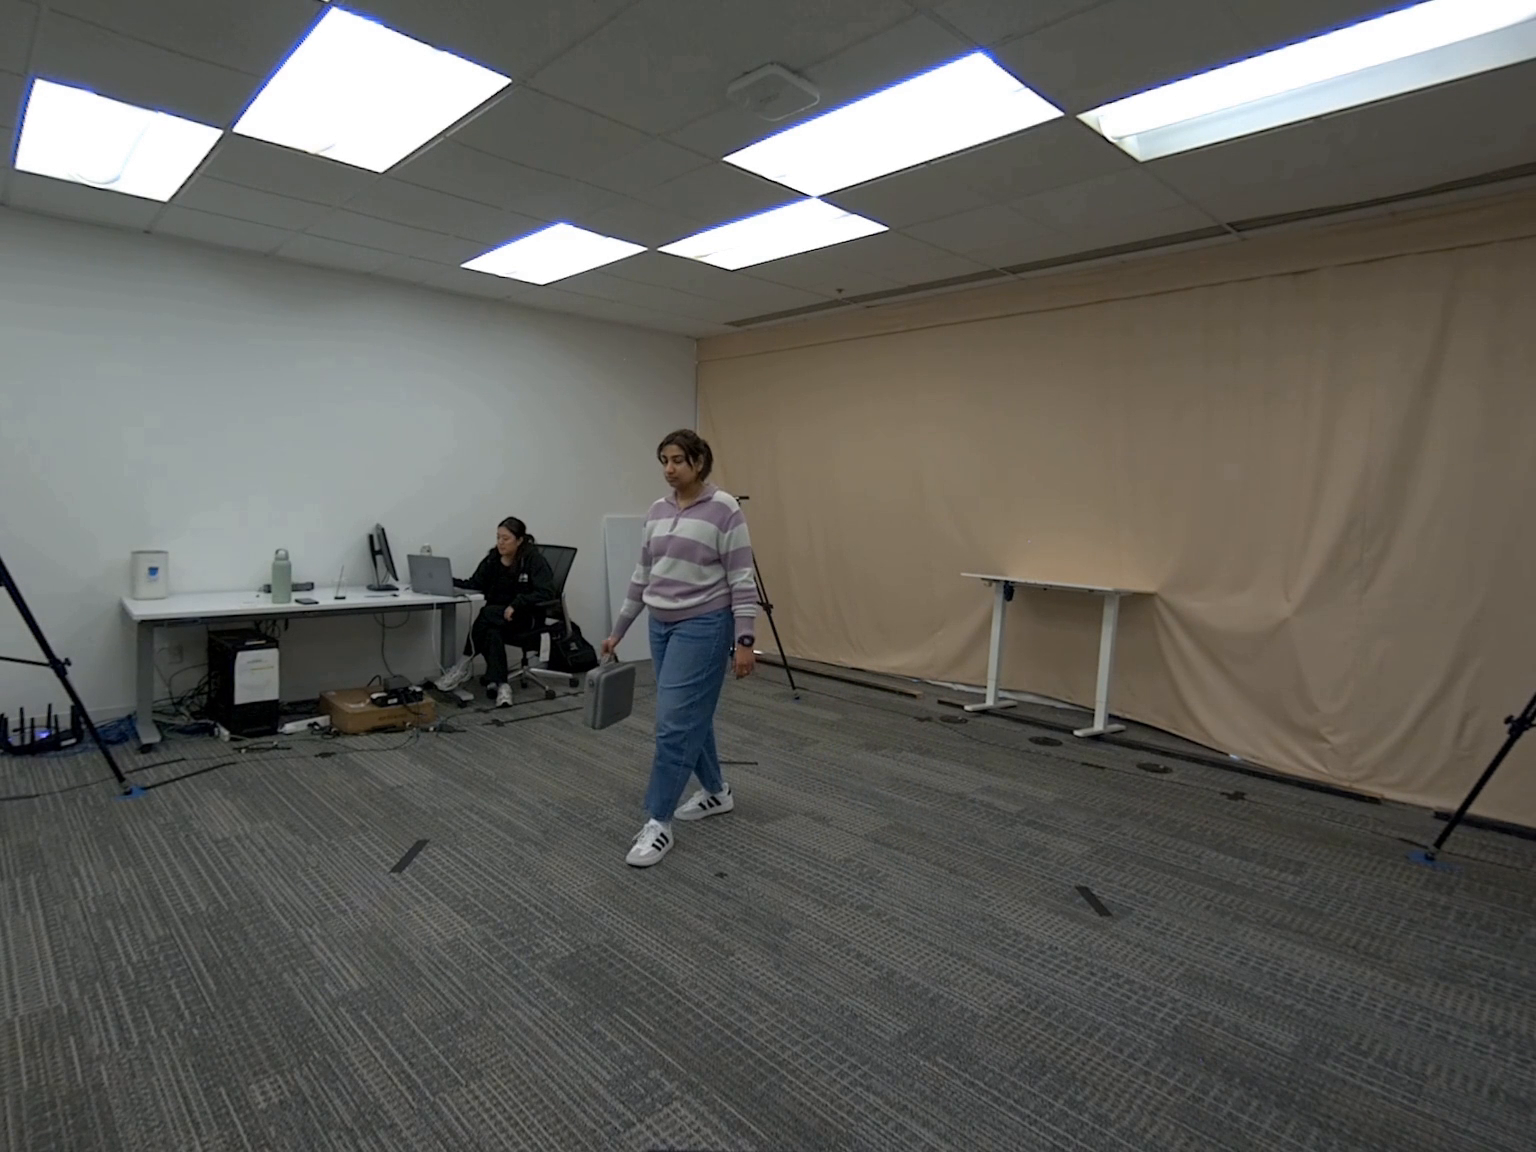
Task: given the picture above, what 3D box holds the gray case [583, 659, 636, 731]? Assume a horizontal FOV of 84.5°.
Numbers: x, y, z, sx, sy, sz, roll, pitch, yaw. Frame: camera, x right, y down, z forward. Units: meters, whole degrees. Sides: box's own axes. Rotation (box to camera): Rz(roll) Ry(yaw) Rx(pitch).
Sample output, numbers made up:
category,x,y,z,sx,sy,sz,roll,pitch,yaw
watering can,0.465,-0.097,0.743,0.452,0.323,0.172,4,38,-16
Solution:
category,x,y,z,sx,sy,sz,roll,pitch,yaw
gray case,-0.688,0.499,3.631,0.106,0.259,0.253,10,9,22
